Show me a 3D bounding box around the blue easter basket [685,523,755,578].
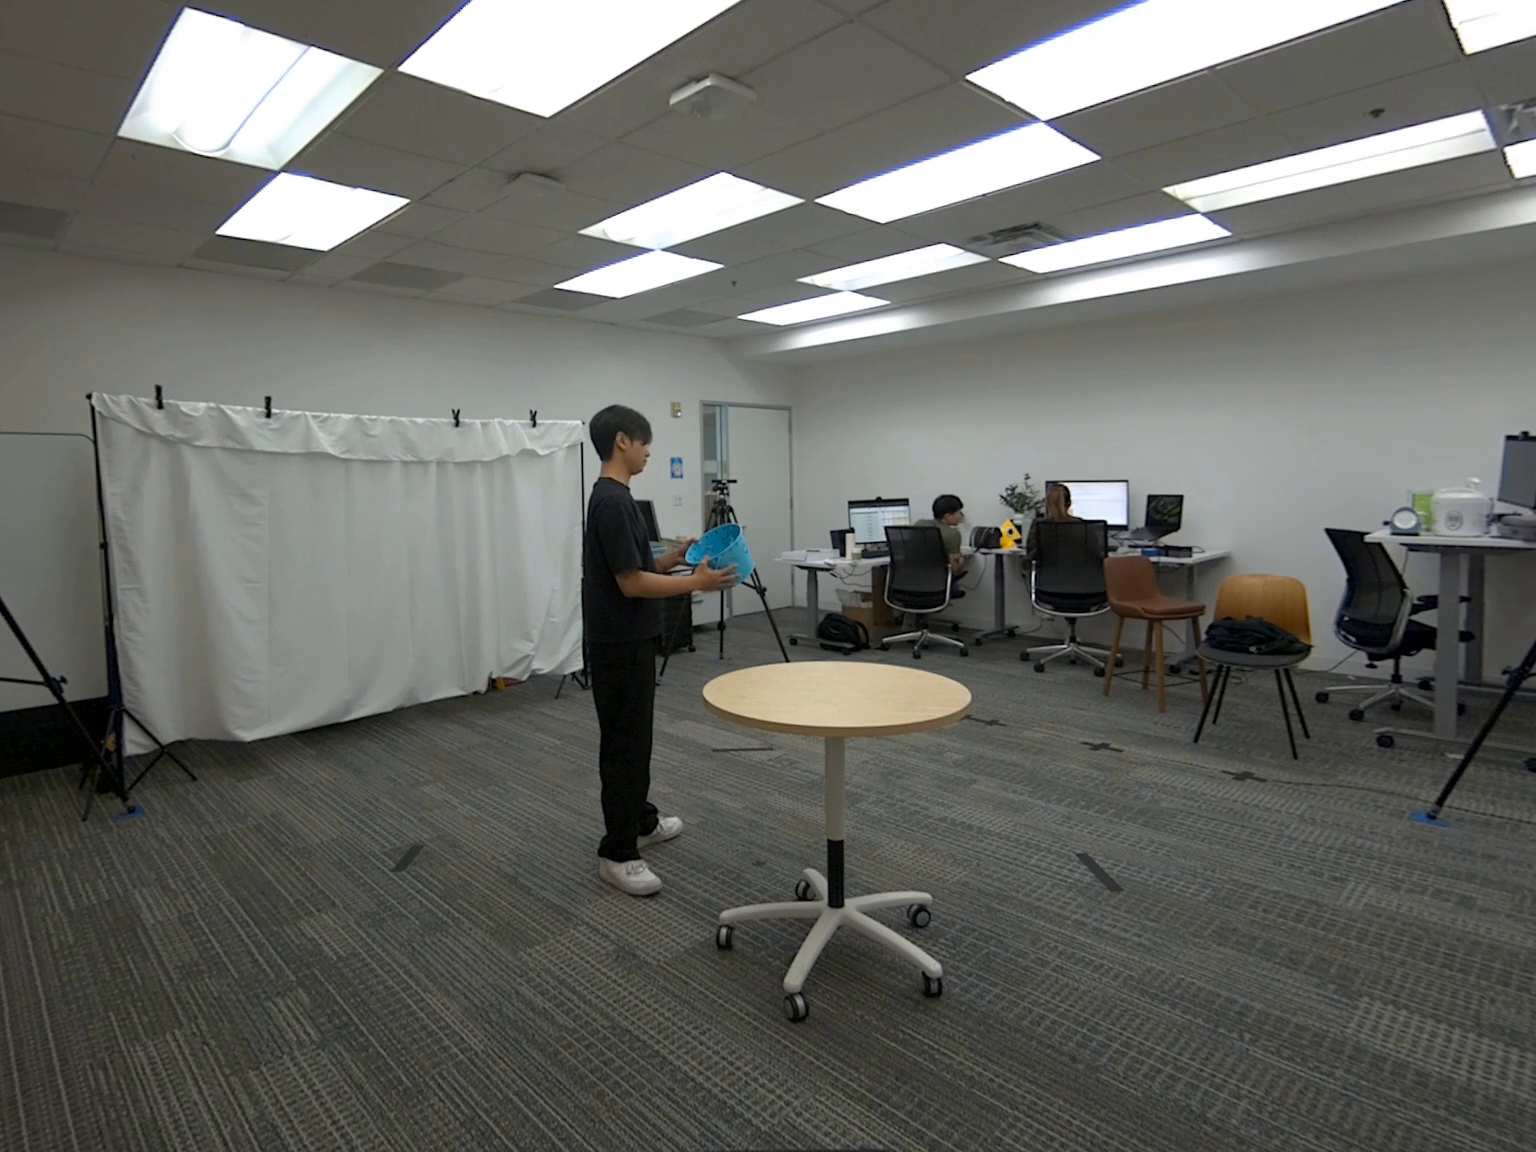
[{"bbox_3d":[-0.166,-0.061,3.127,0.245,0.151,0.249,-26,27,12],"label":"blue easter basket"}]
